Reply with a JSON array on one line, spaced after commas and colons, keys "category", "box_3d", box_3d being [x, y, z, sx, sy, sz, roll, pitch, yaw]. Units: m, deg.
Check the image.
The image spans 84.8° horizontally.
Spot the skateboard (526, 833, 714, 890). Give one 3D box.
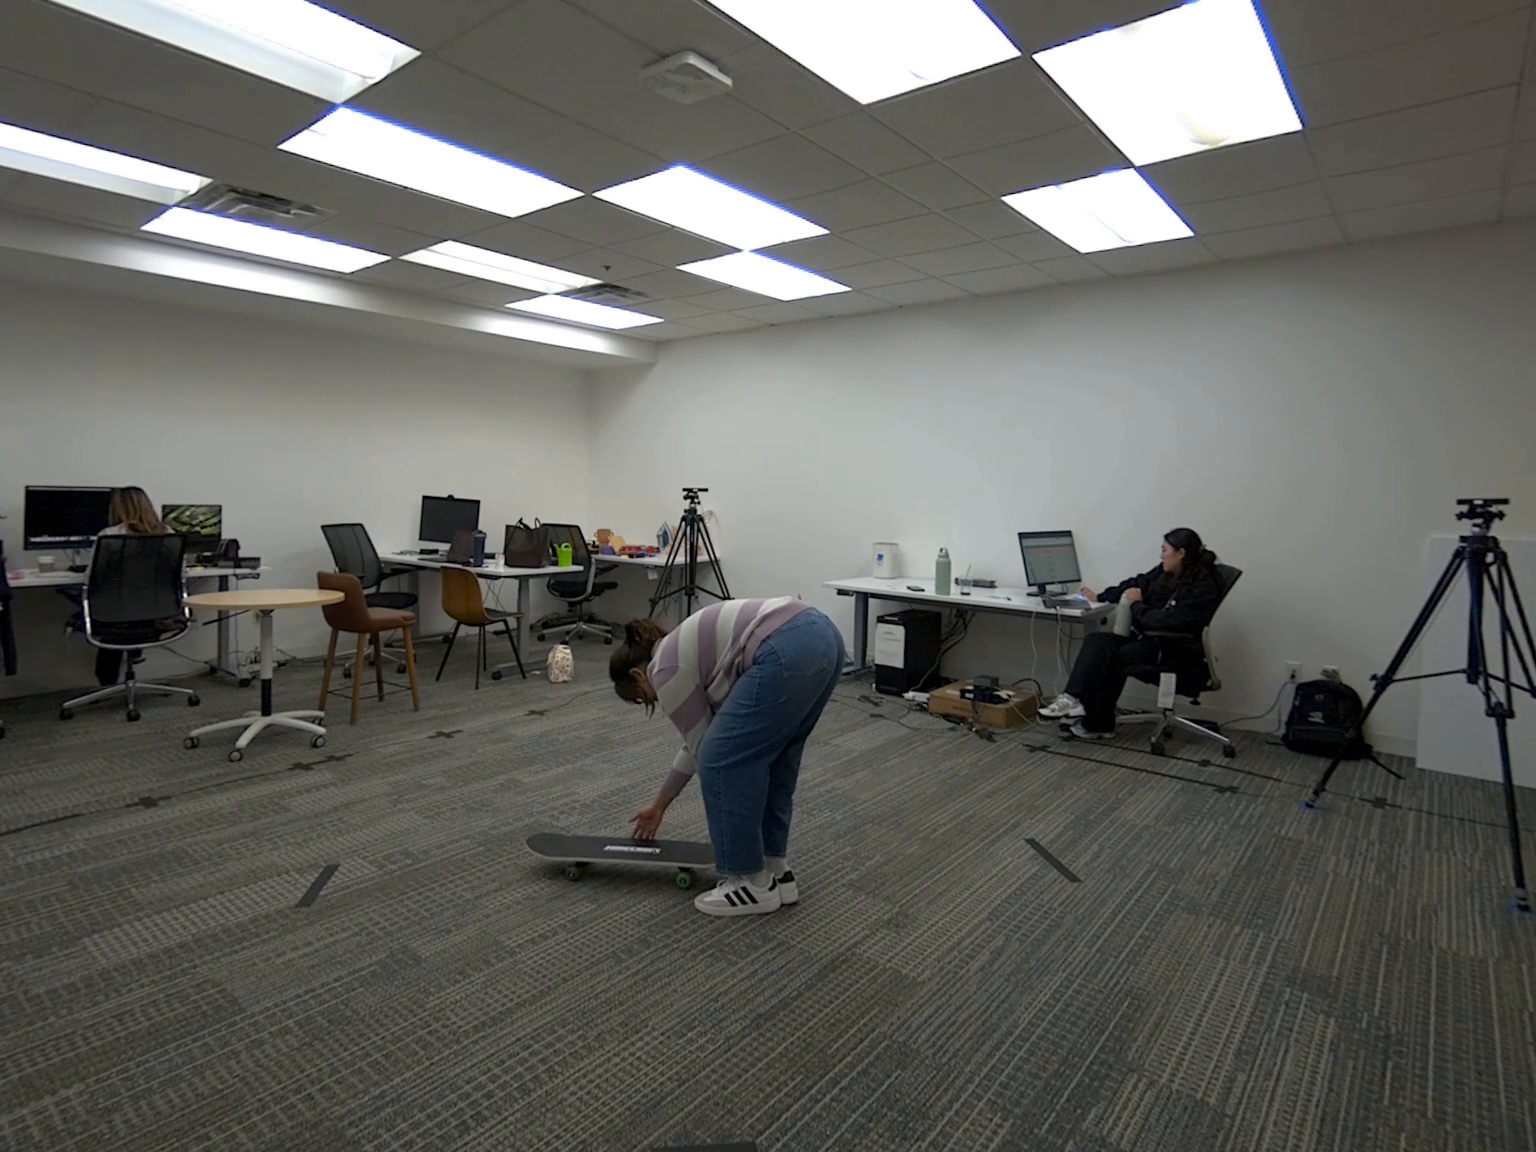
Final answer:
[{"category": "skateboard", "box_3d": [-0.498, 1.009, 3.049, 0.792, 0.110, 0.193, 1, 5, 7]}]
